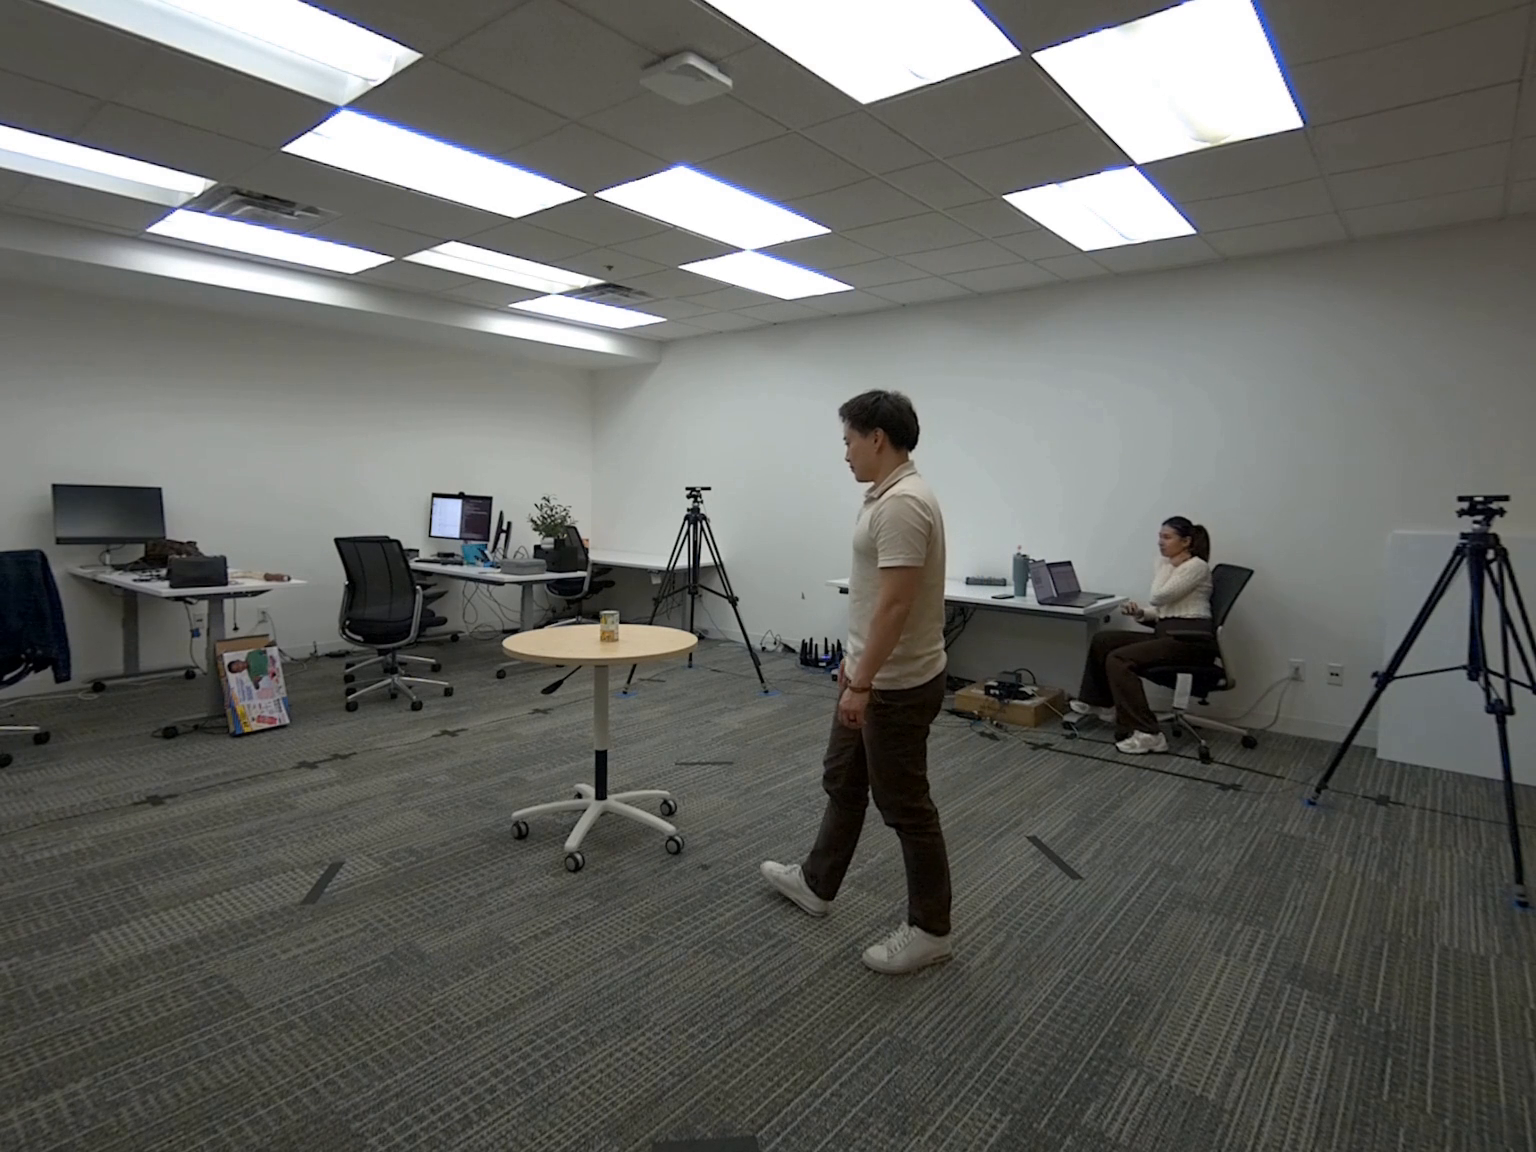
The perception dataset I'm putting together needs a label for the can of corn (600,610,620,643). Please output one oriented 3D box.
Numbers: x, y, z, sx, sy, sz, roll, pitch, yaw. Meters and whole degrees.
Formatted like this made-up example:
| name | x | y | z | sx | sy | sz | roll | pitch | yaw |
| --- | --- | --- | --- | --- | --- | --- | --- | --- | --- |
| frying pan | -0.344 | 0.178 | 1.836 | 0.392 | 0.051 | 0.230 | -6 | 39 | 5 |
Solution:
| name | x | y | z | sx | sy | sz | roll | pitch | yaw |
| --- | --- | --- | --- | --- | --- | --- | --- | --- | --- |
| can of corn | -0.641 | 0.194 | 3.362 | 0.074 | 0.111 | 0.074 | 0 | 3 | -2 |
